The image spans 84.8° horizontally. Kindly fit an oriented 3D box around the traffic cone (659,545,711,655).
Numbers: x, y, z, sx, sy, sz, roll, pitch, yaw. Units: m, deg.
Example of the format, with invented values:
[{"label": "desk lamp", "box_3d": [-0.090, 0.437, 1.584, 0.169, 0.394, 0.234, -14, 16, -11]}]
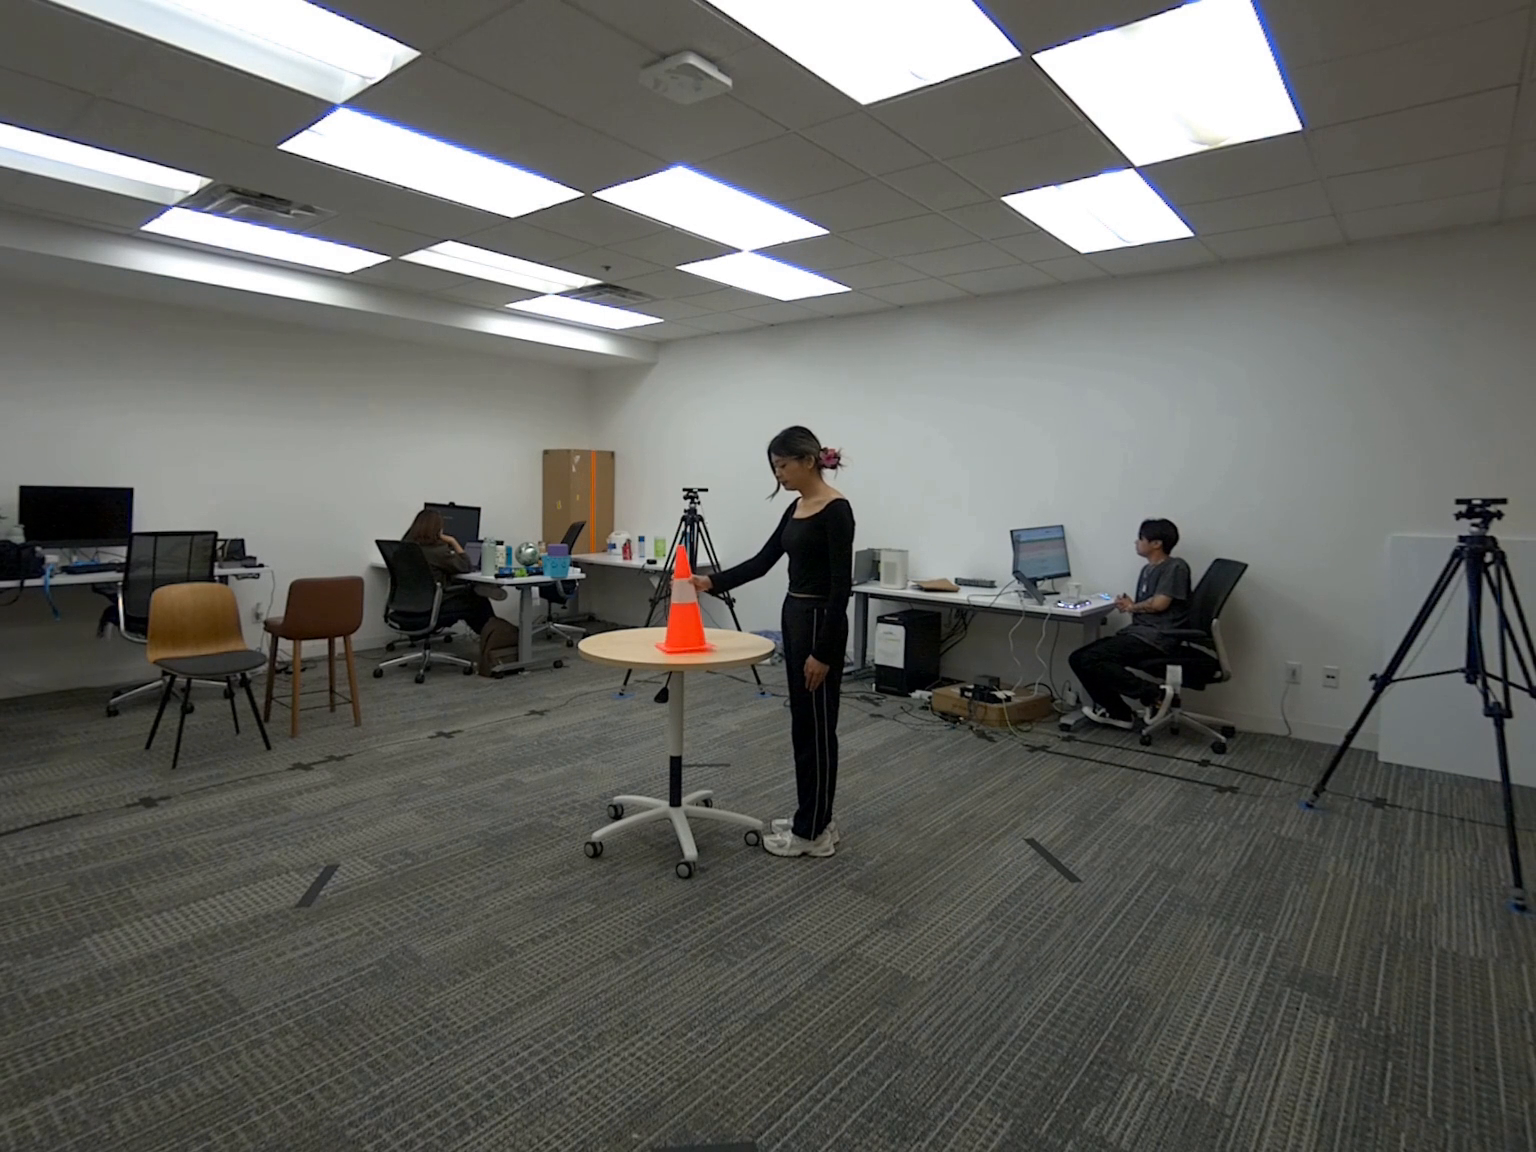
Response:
[{"label": "traffic cone", "box_3d": [-0.330, 0.071, 3.236, 0.200, 0.383, 0.209, -1, 1, -19]}]
